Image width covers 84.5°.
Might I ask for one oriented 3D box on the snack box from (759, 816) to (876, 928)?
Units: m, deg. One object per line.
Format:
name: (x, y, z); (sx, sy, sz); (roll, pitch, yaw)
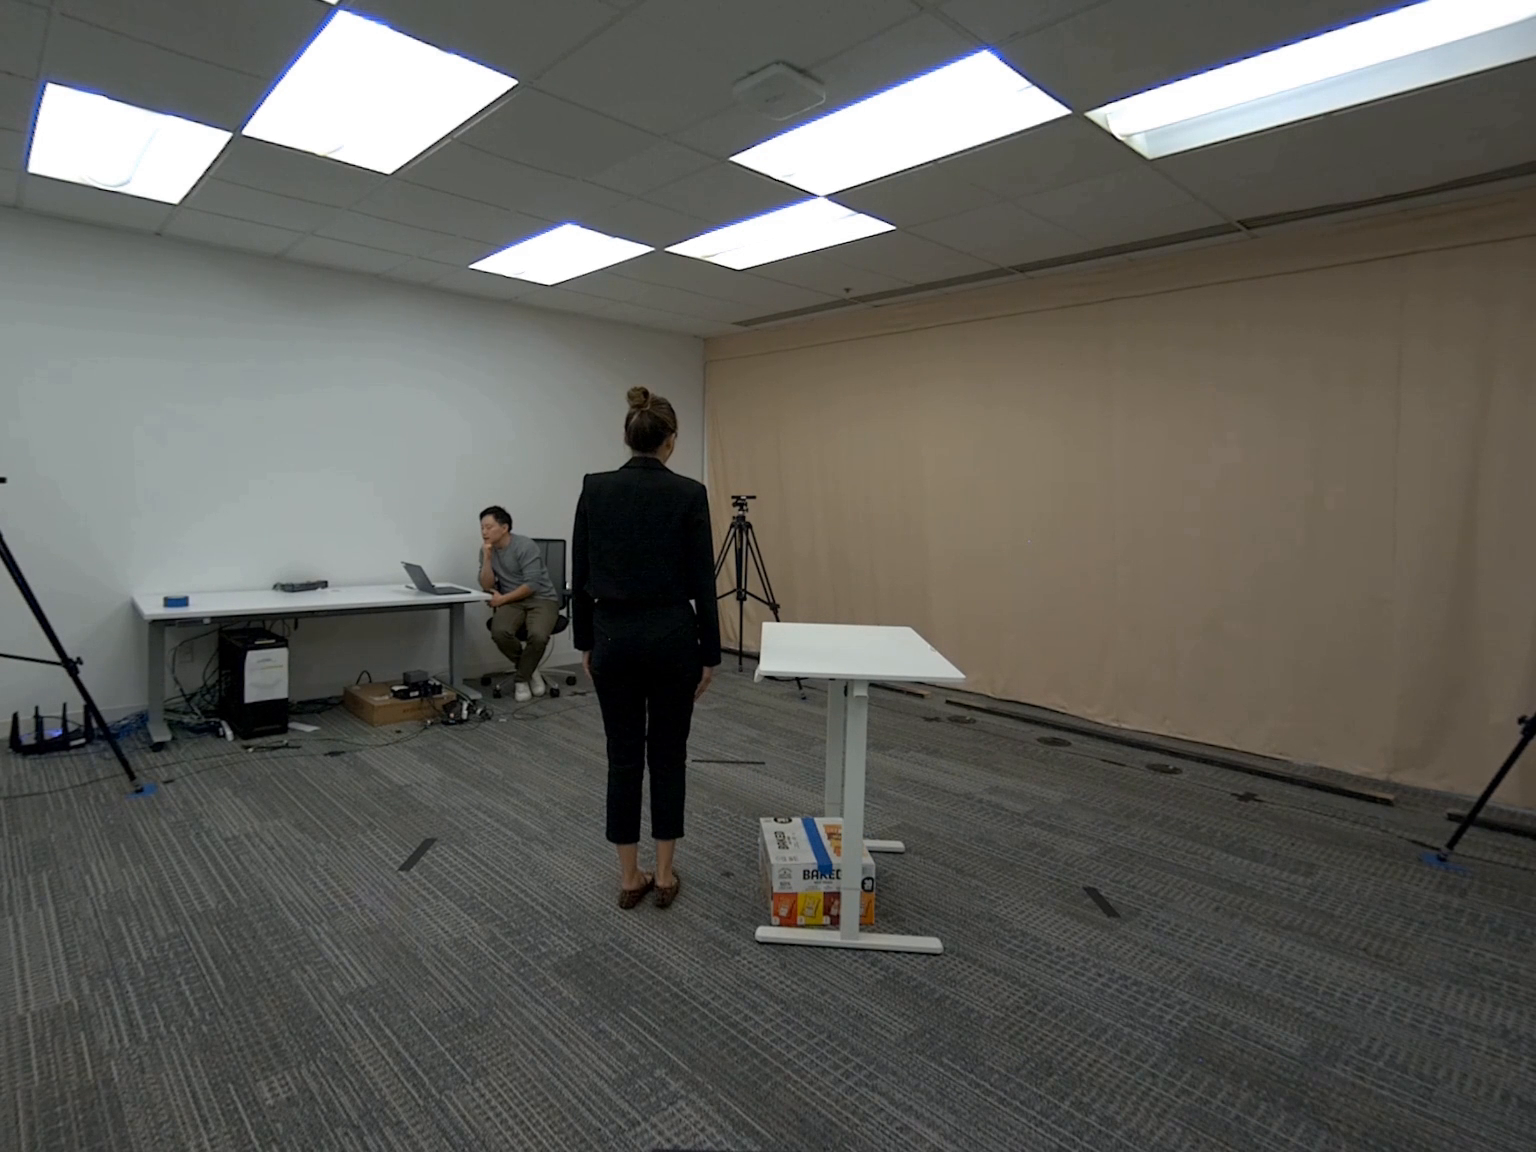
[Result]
snack box: (0.148, 1.023, 2.940); (0.339, 0.205, 0.408); (1, 5, -6)
